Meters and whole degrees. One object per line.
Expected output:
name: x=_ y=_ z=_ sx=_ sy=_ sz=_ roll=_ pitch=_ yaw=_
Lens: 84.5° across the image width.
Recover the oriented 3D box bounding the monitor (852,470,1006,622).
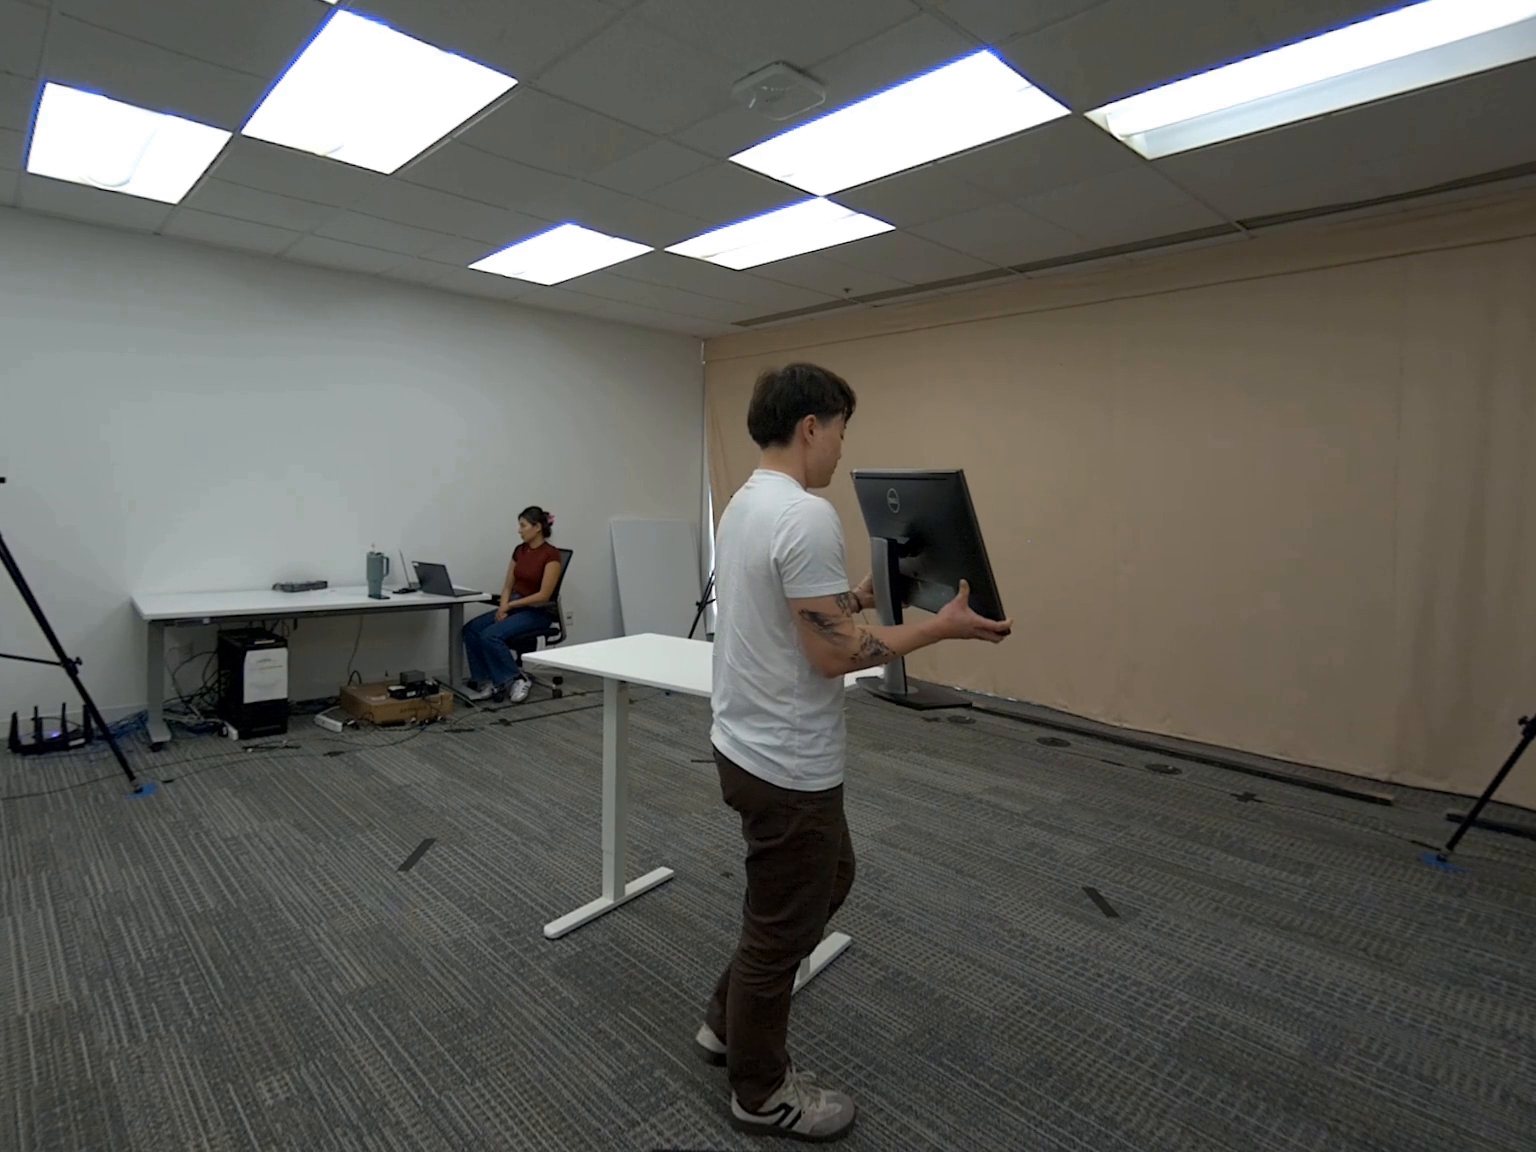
monitor: x=0.316 y=0.014 z=1.912 sx=0.185 sy=0.520 sz=0.548 roll=-7 pitch=8 yaw=-18
